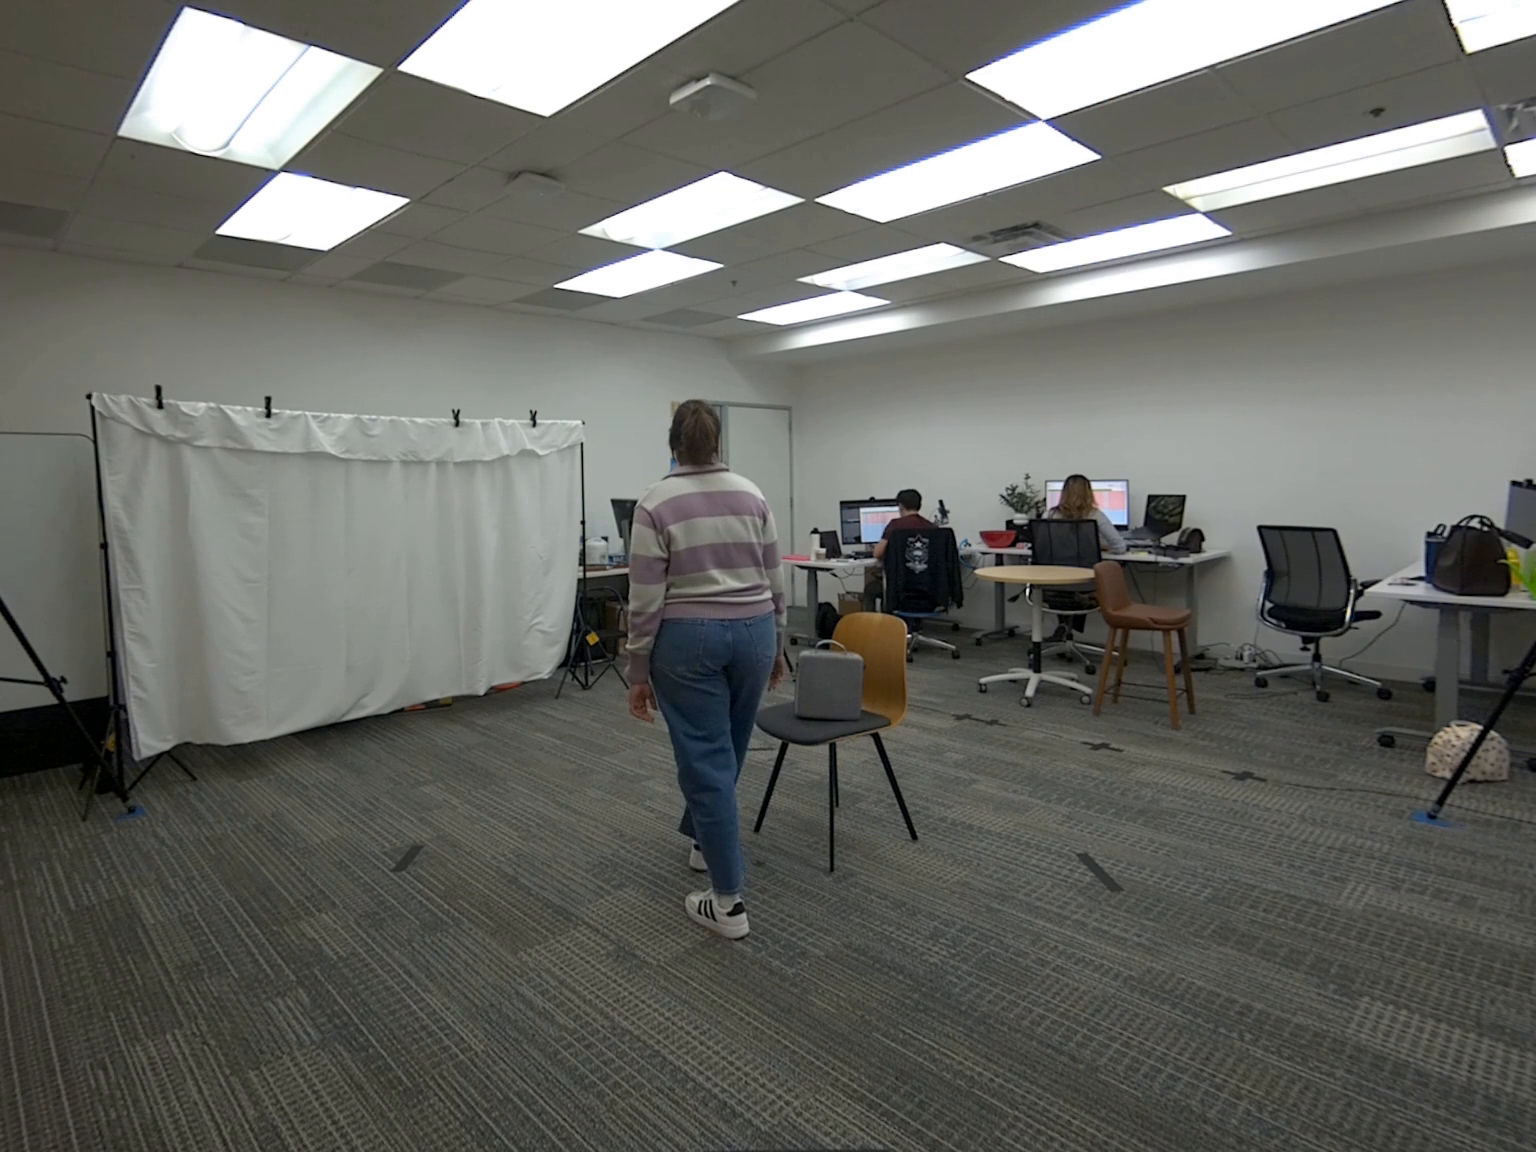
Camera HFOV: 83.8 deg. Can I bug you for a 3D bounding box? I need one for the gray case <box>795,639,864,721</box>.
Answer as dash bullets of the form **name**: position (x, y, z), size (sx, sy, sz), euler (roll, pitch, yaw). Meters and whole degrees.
- **gray case**: position (0.243, 0.411, 3.289), size (0.257, 0.260, 0.104), euler (1, 2, 1)
